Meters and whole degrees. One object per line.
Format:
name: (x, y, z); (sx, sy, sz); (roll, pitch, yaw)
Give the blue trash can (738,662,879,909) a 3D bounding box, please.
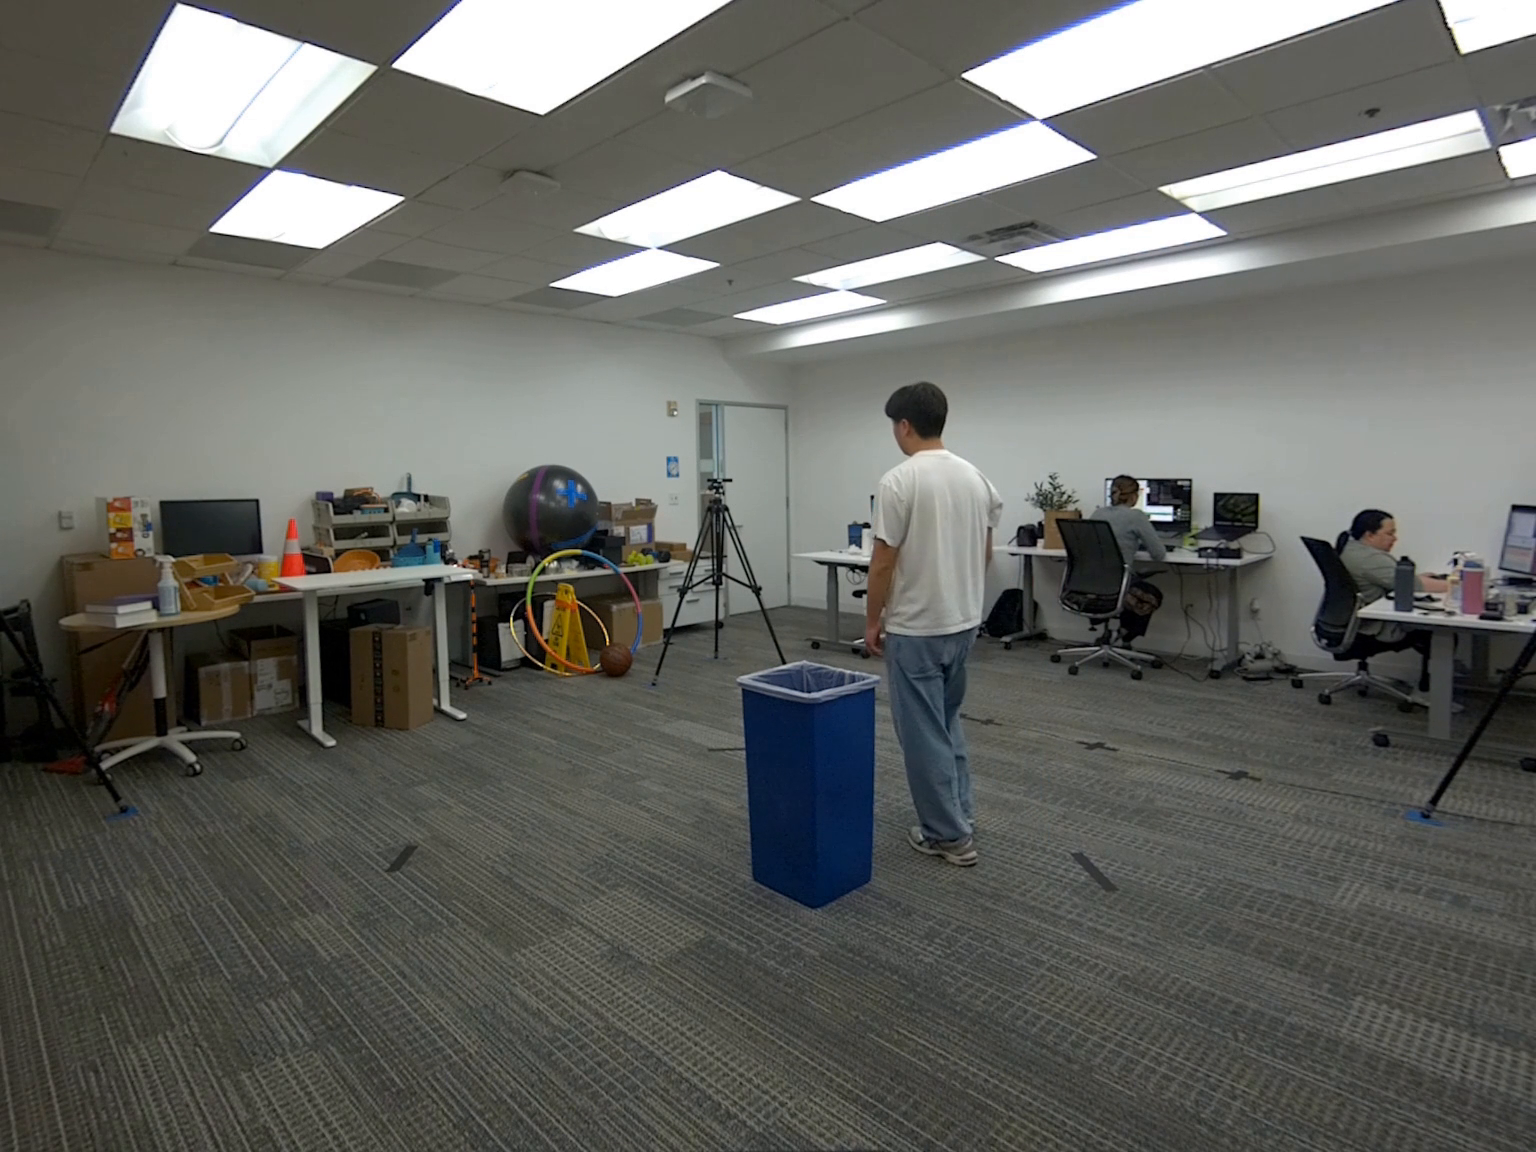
blue trash can: (0.145, 0.702, 2.940); (0.364, 0.711, 0.389); (-4, 5, -44)
